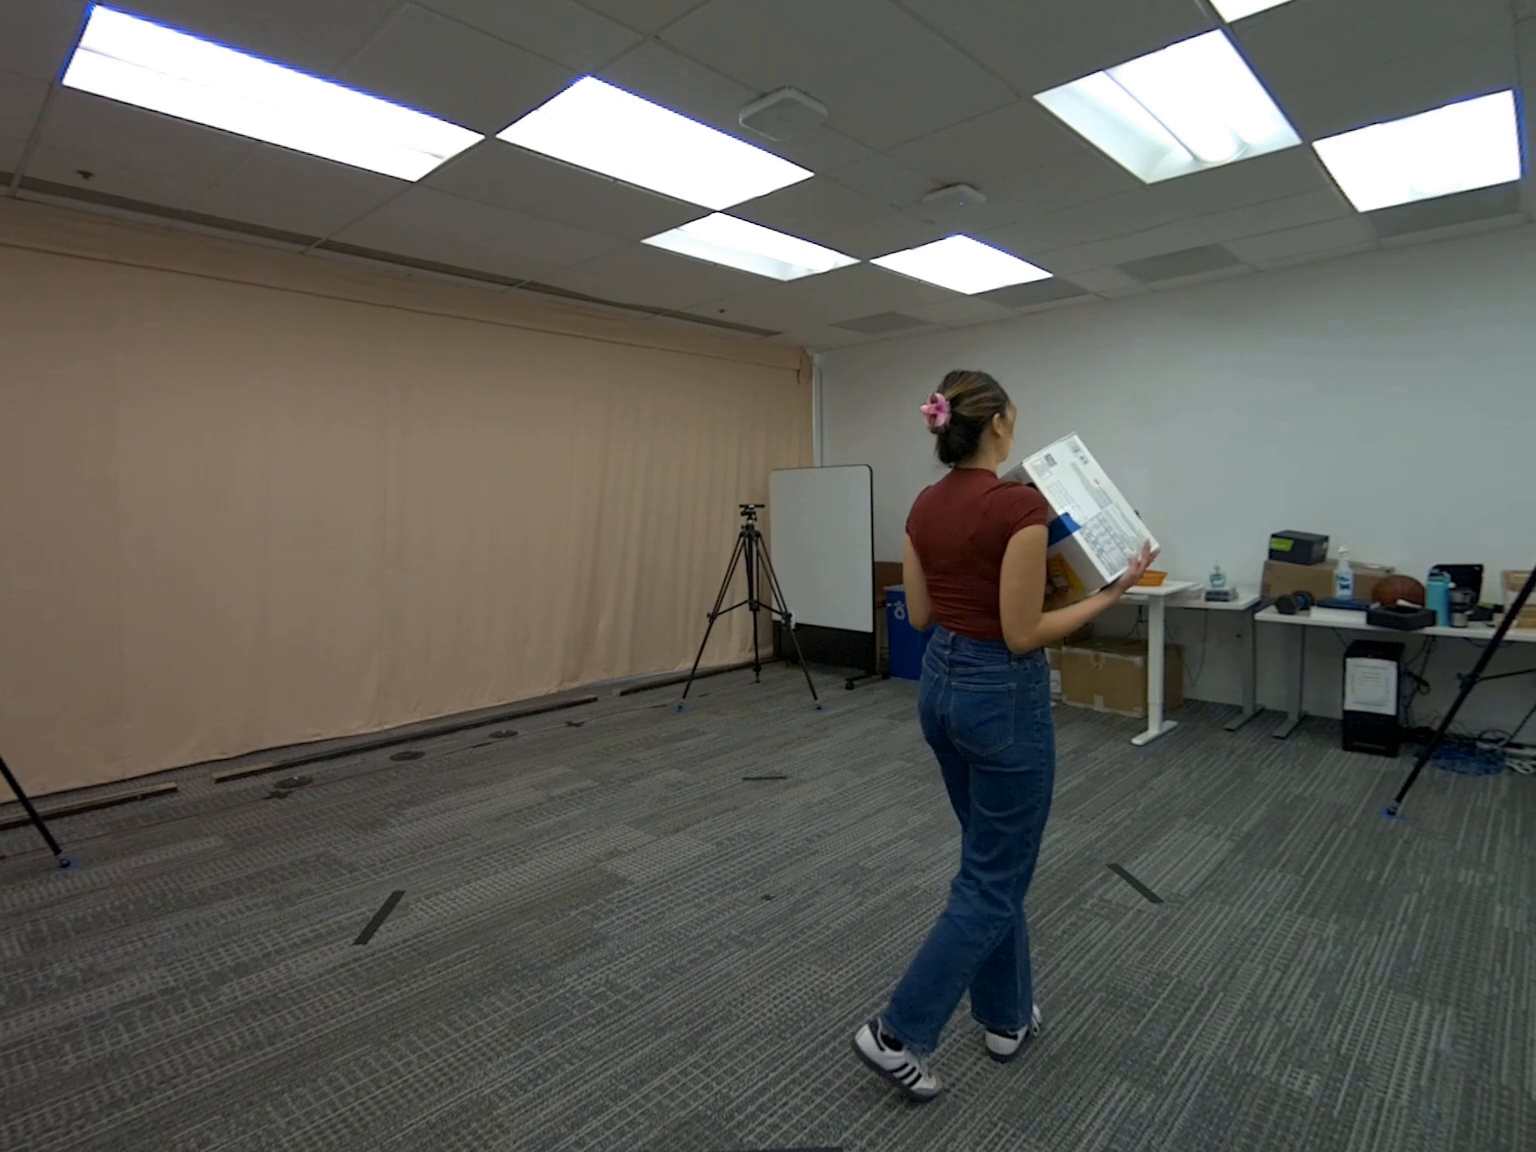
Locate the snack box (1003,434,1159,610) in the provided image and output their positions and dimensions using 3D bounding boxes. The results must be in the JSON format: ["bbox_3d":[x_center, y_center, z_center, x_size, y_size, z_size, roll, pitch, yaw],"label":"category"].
[{"bbox_3d":[0.690,-0.094,2.146,0.202,0.344,0.407,-27,-10,-26],"label":"snack box"}]
